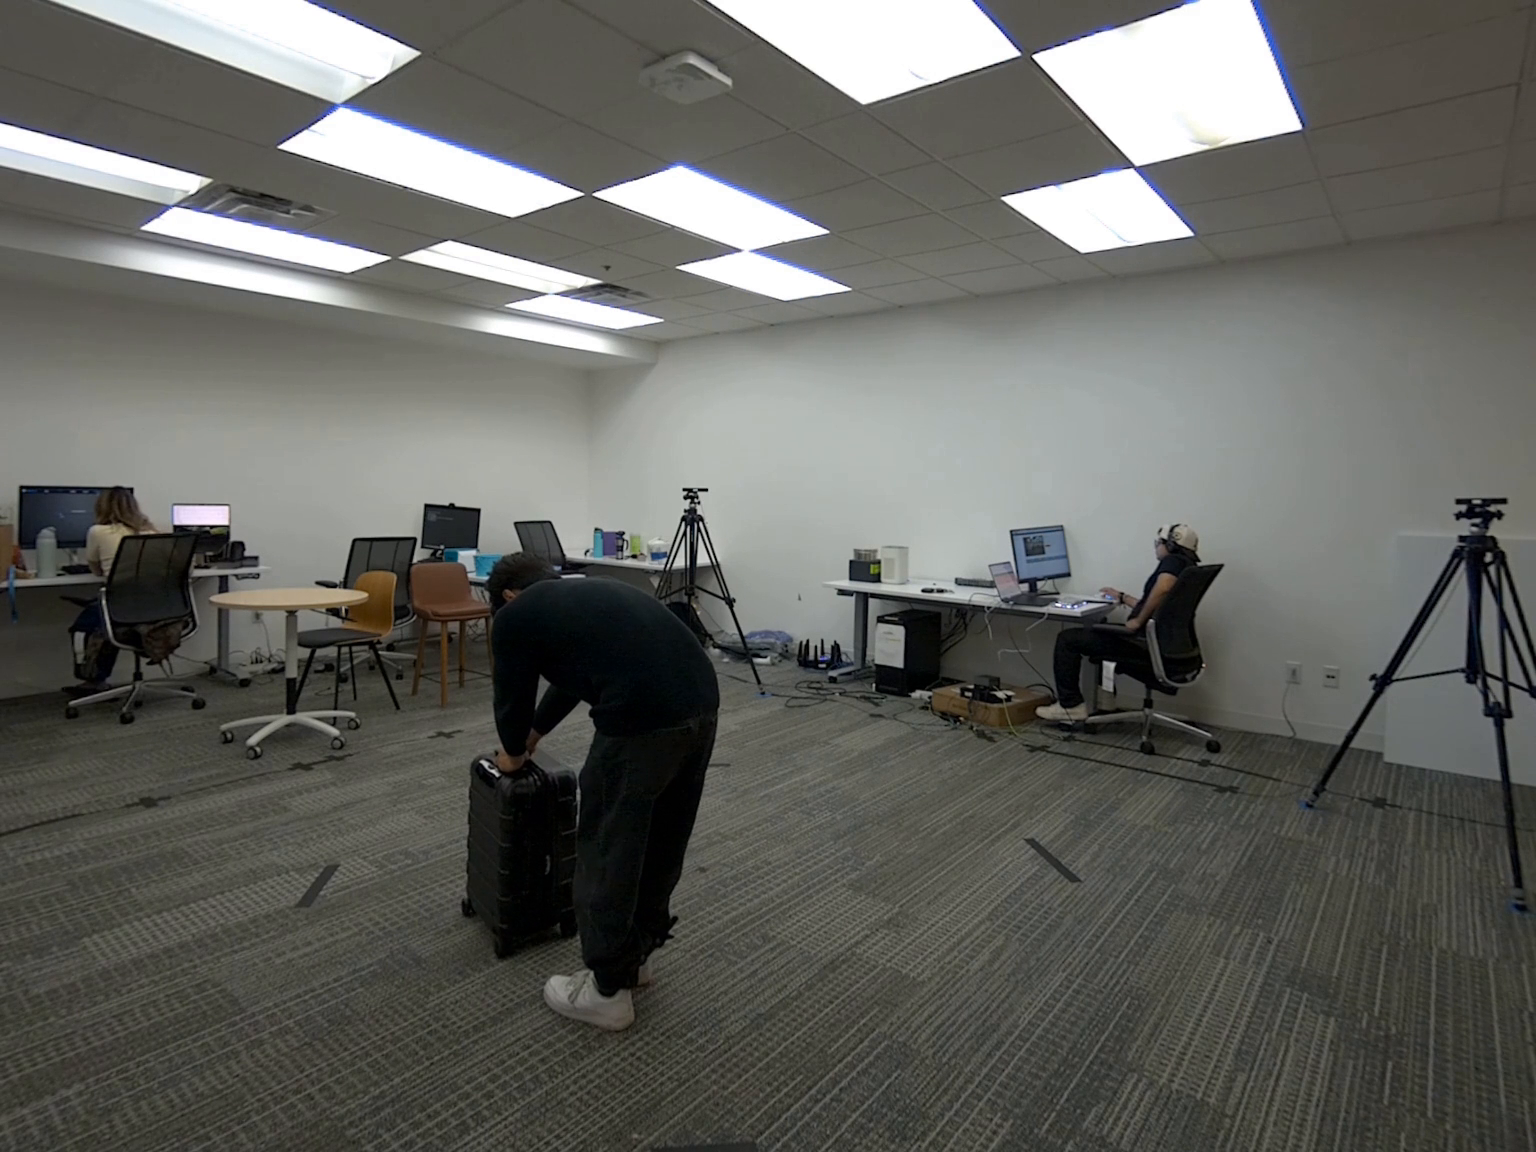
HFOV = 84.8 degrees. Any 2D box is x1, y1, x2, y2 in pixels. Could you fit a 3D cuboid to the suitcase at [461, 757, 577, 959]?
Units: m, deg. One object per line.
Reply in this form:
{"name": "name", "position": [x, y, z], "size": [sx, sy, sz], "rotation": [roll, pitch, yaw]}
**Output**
{"name": "suitcase", "position": [-0.787, 0.830, 2.669], "size": [0.241, 0.547, 0.388], "rotation": [0, 5, -36]}
